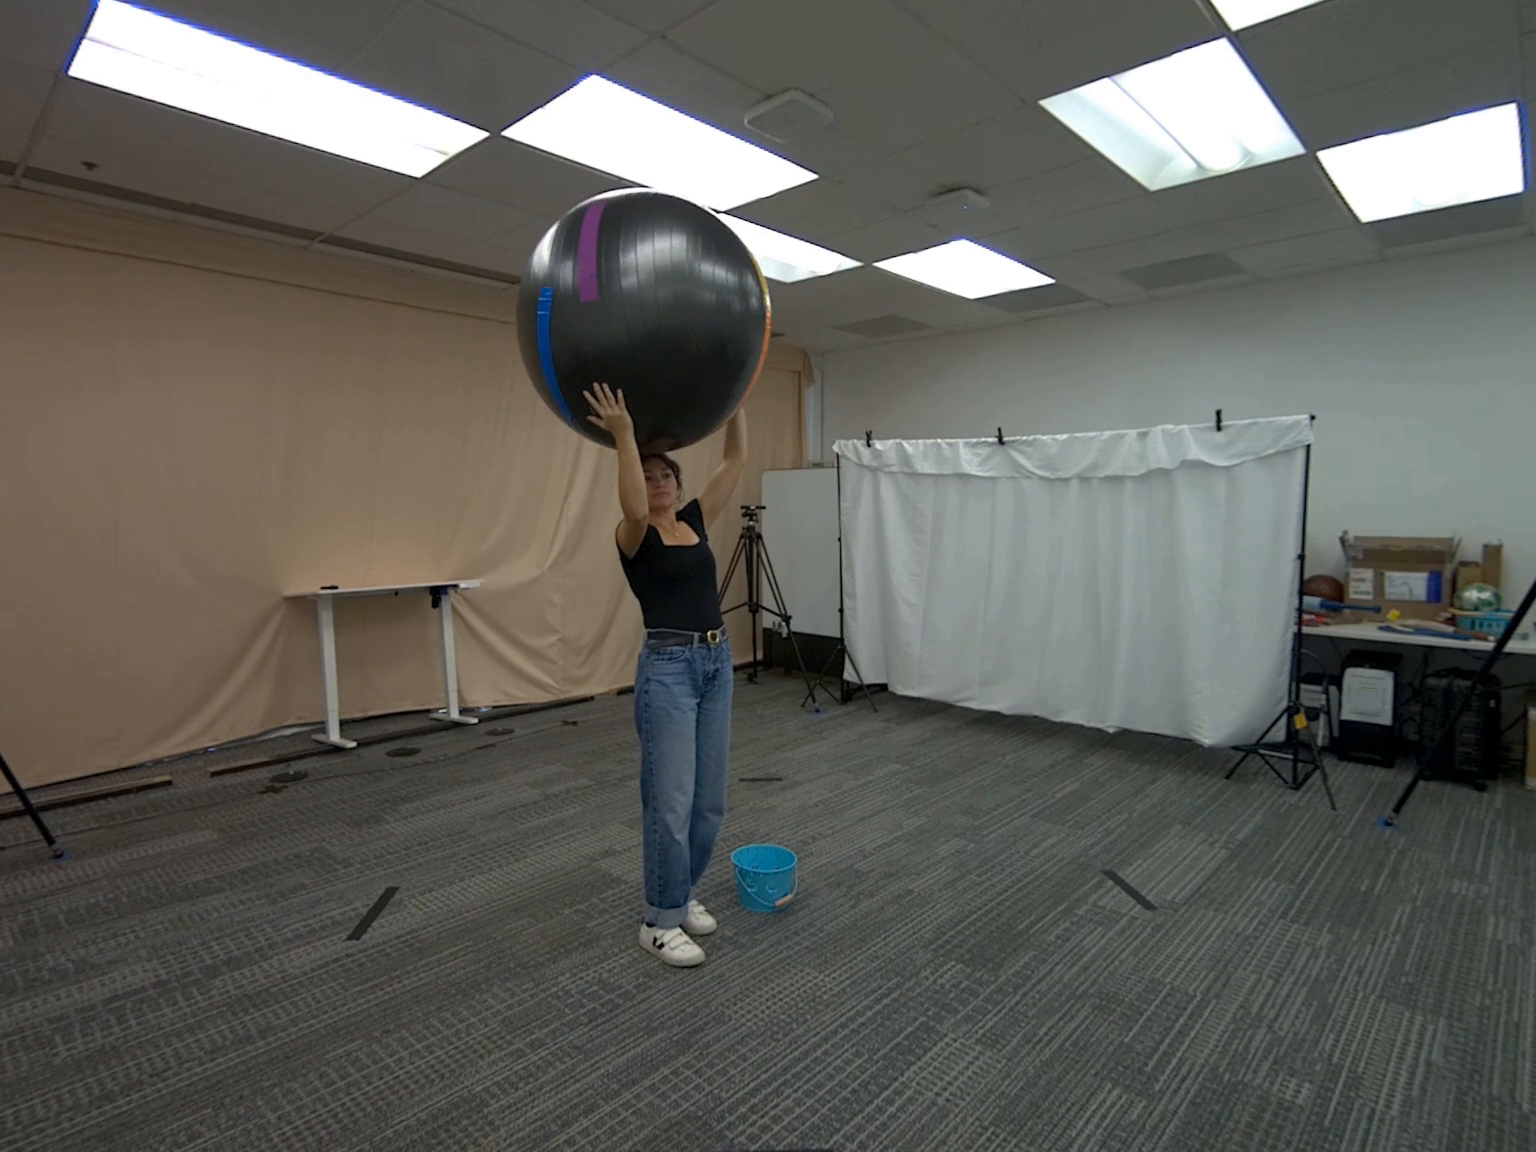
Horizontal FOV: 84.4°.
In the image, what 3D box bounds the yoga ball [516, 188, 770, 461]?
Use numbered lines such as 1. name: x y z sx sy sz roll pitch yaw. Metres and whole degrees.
1. yoga ball: -0.365 -0.750 2.529 0.757 0.756 0.760 0 4 -2
